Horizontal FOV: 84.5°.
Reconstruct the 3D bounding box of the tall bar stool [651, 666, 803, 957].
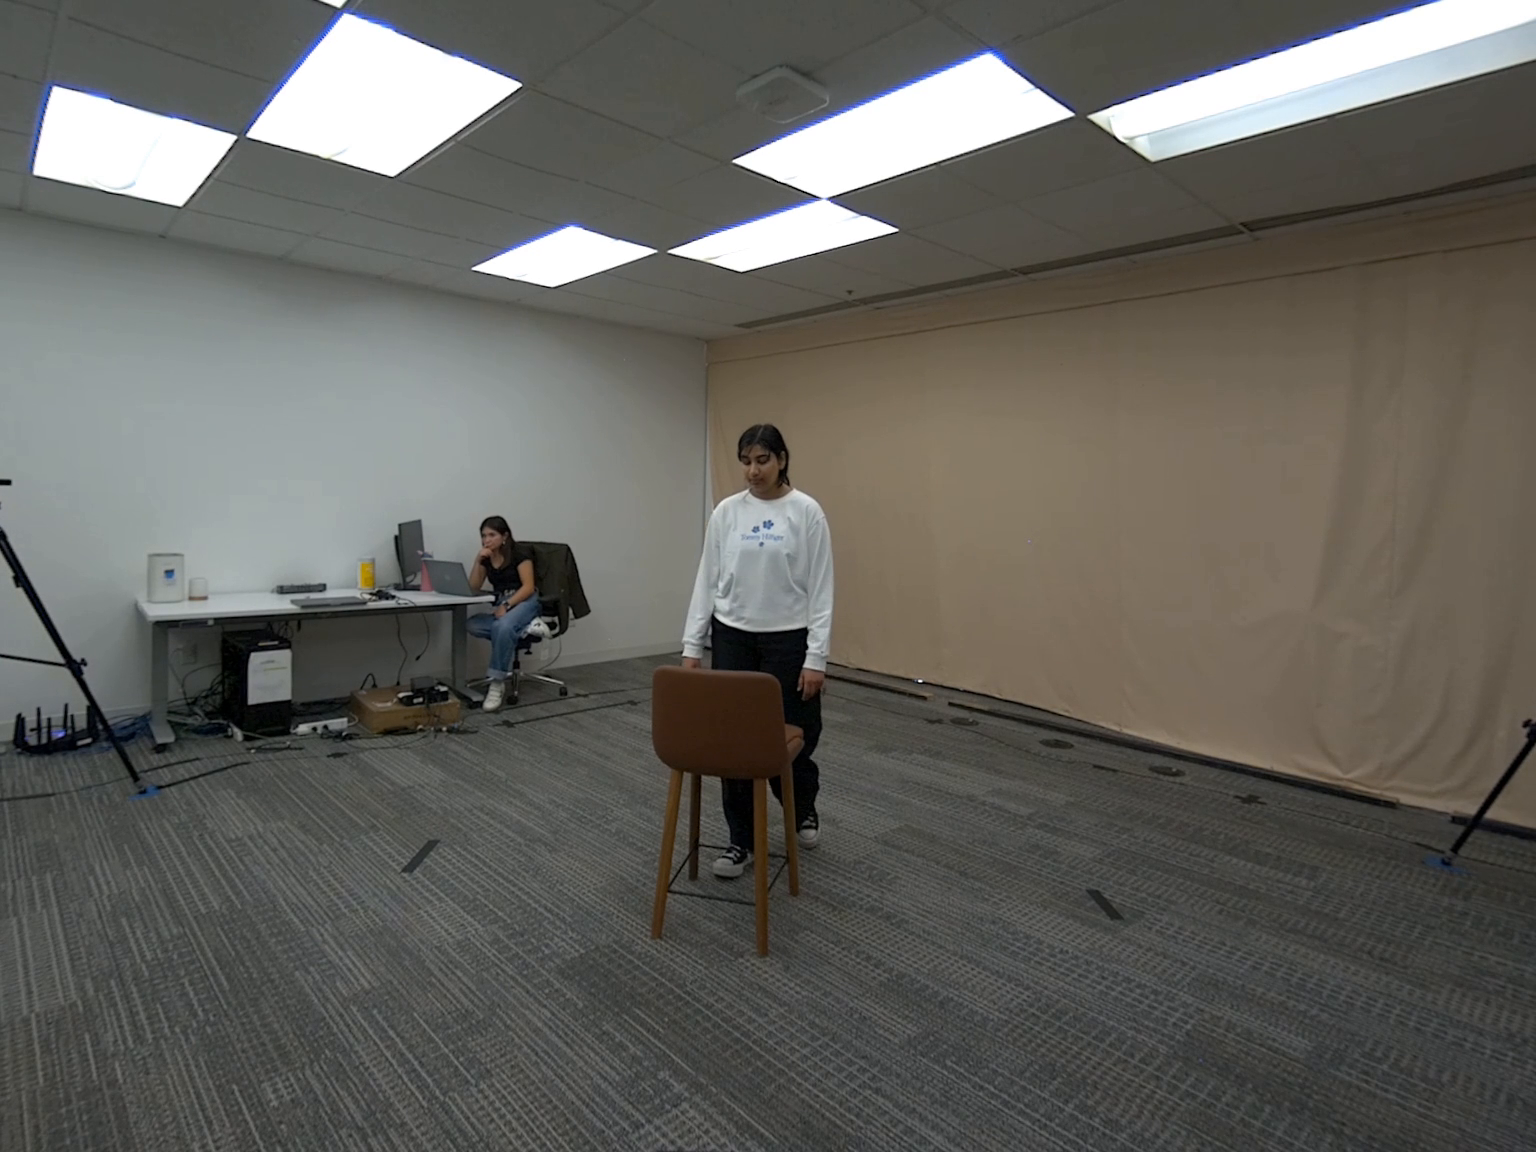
[{"bbox_3d":[-0.139,0.705,2.787,0.462,0.886,0.463,2,5,15],"label":"tall bar stool"}]
